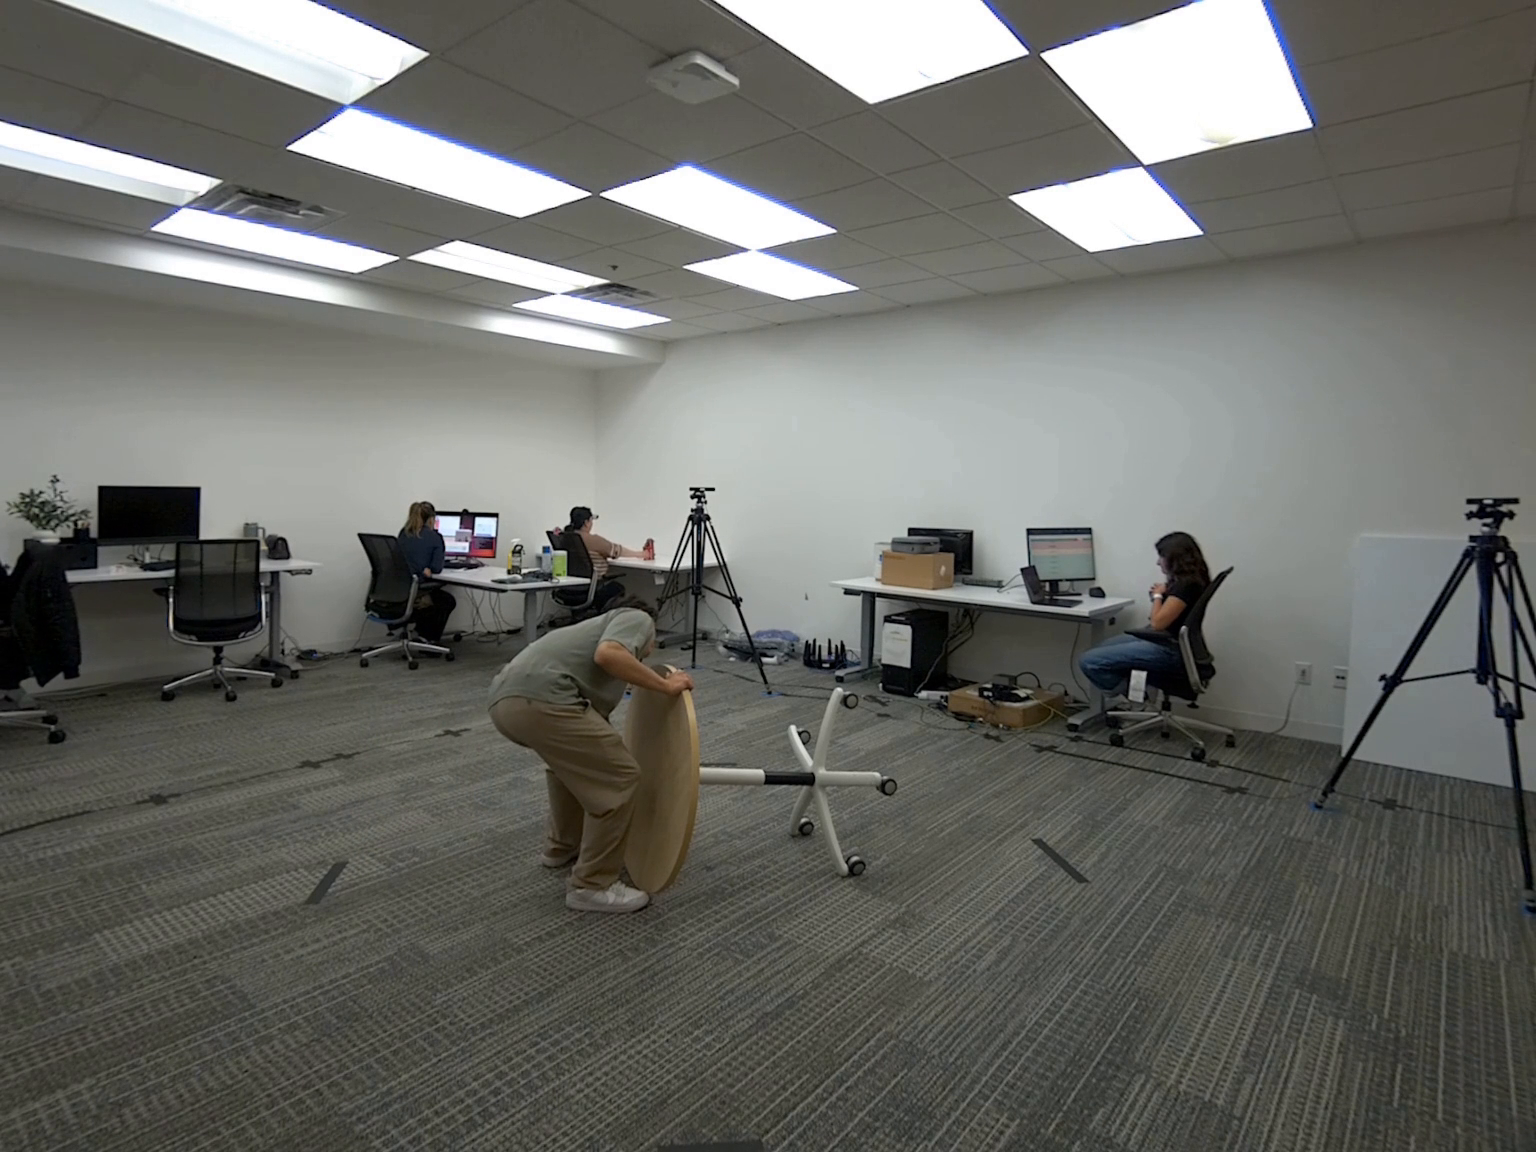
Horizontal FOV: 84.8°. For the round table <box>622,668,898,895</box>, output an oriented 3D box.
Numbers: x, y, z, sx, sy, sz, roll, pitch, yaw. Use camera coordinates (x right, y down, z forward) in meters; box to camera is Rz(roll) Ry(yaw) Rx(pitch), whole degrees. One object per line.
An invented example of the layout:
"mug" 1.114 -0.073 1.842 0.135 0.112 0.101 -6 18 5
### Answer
"round table" -0.066 0.737 3.124 0.767 0.785 0.805 7 1 -24
